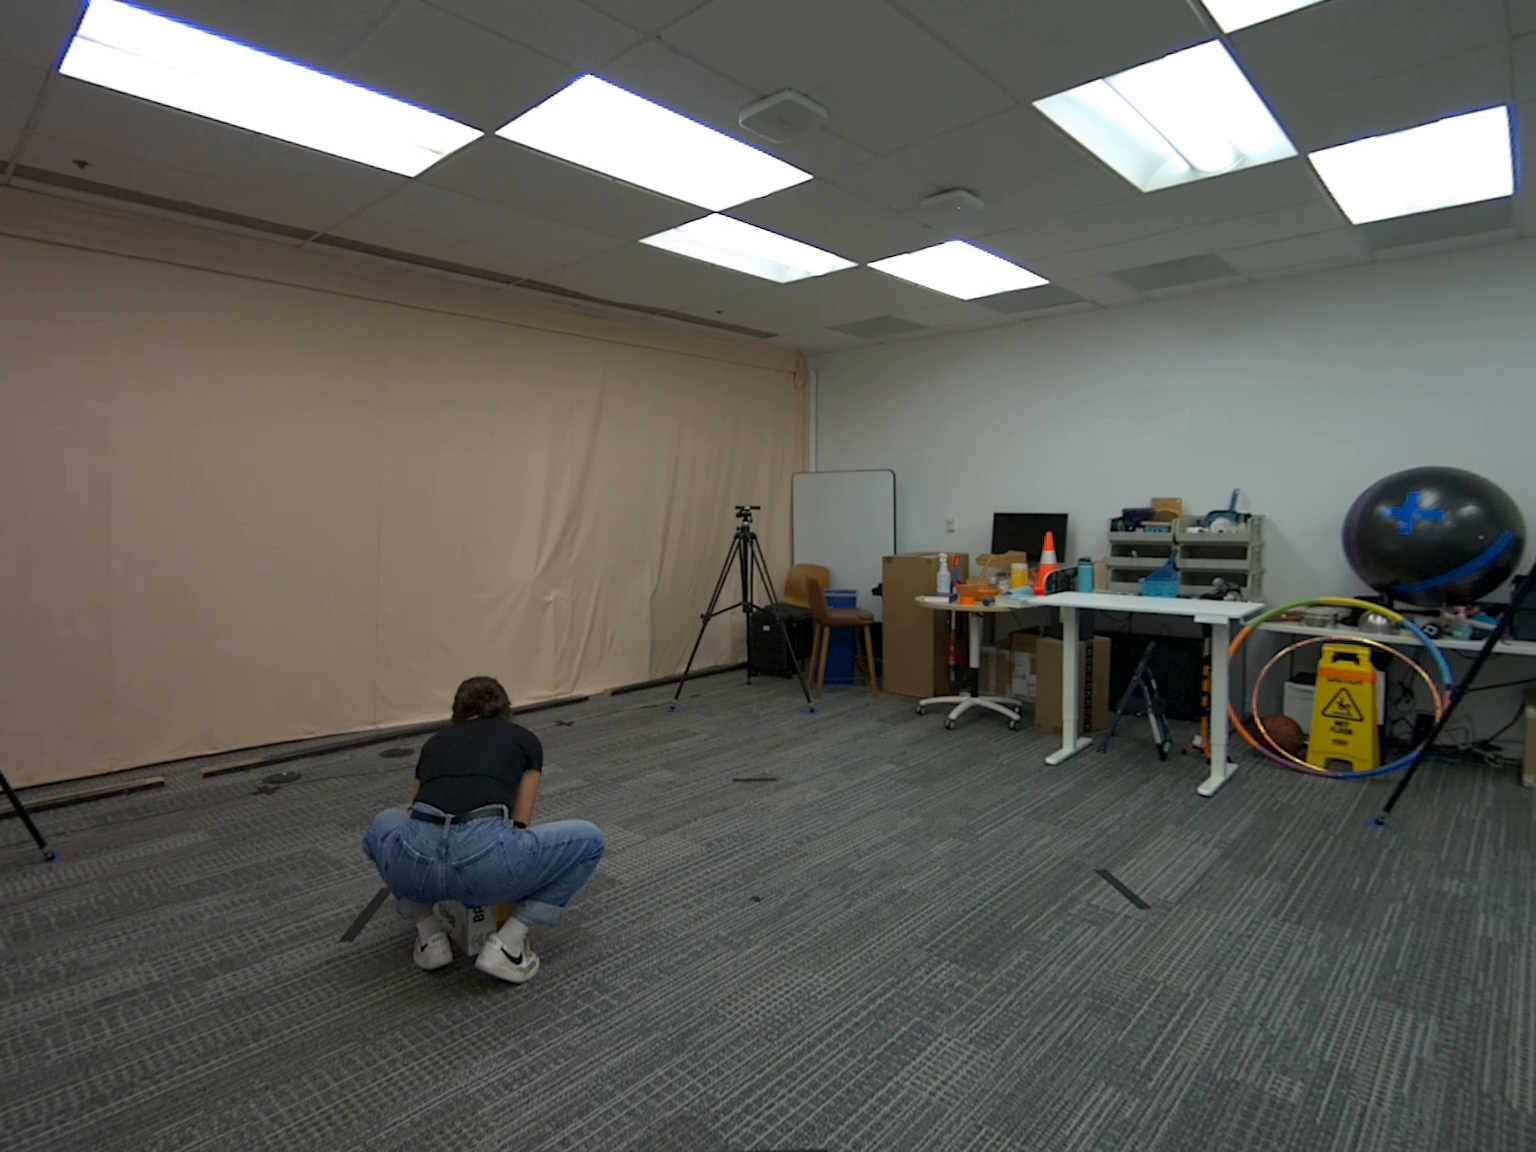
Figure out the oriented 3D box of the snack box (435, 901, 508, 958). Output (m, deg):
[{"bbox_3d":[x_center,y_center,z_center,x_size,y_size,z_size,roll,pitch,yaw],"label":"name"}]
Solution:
[{"bbox_3d":[-0.986,0.998,2.814,0.199,0.340,0.418,-1,4,-39],"label":"snack box"}]
